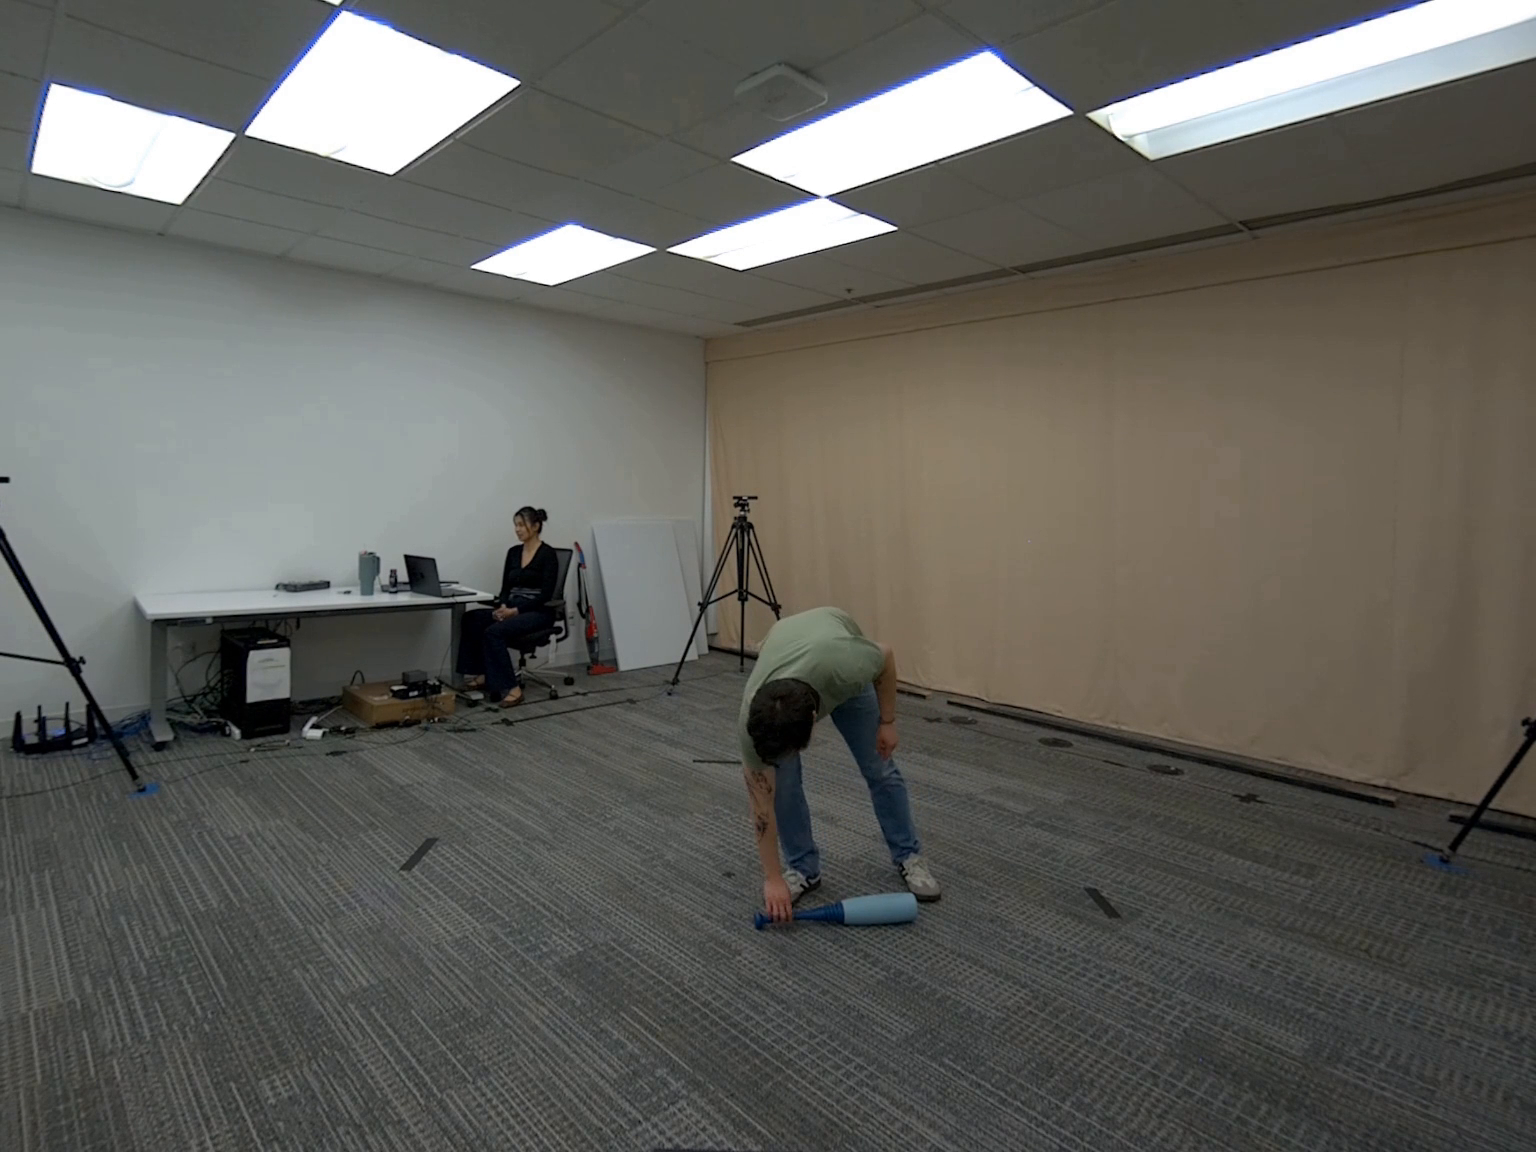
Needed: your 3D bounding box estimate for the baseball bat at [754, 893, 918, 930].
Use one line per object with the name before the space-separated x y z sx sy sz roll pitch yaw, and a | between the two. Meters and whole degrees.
baseball bat | 0.217 1.103 2.758 0.540 0.089 0.090 -2 5 -7
